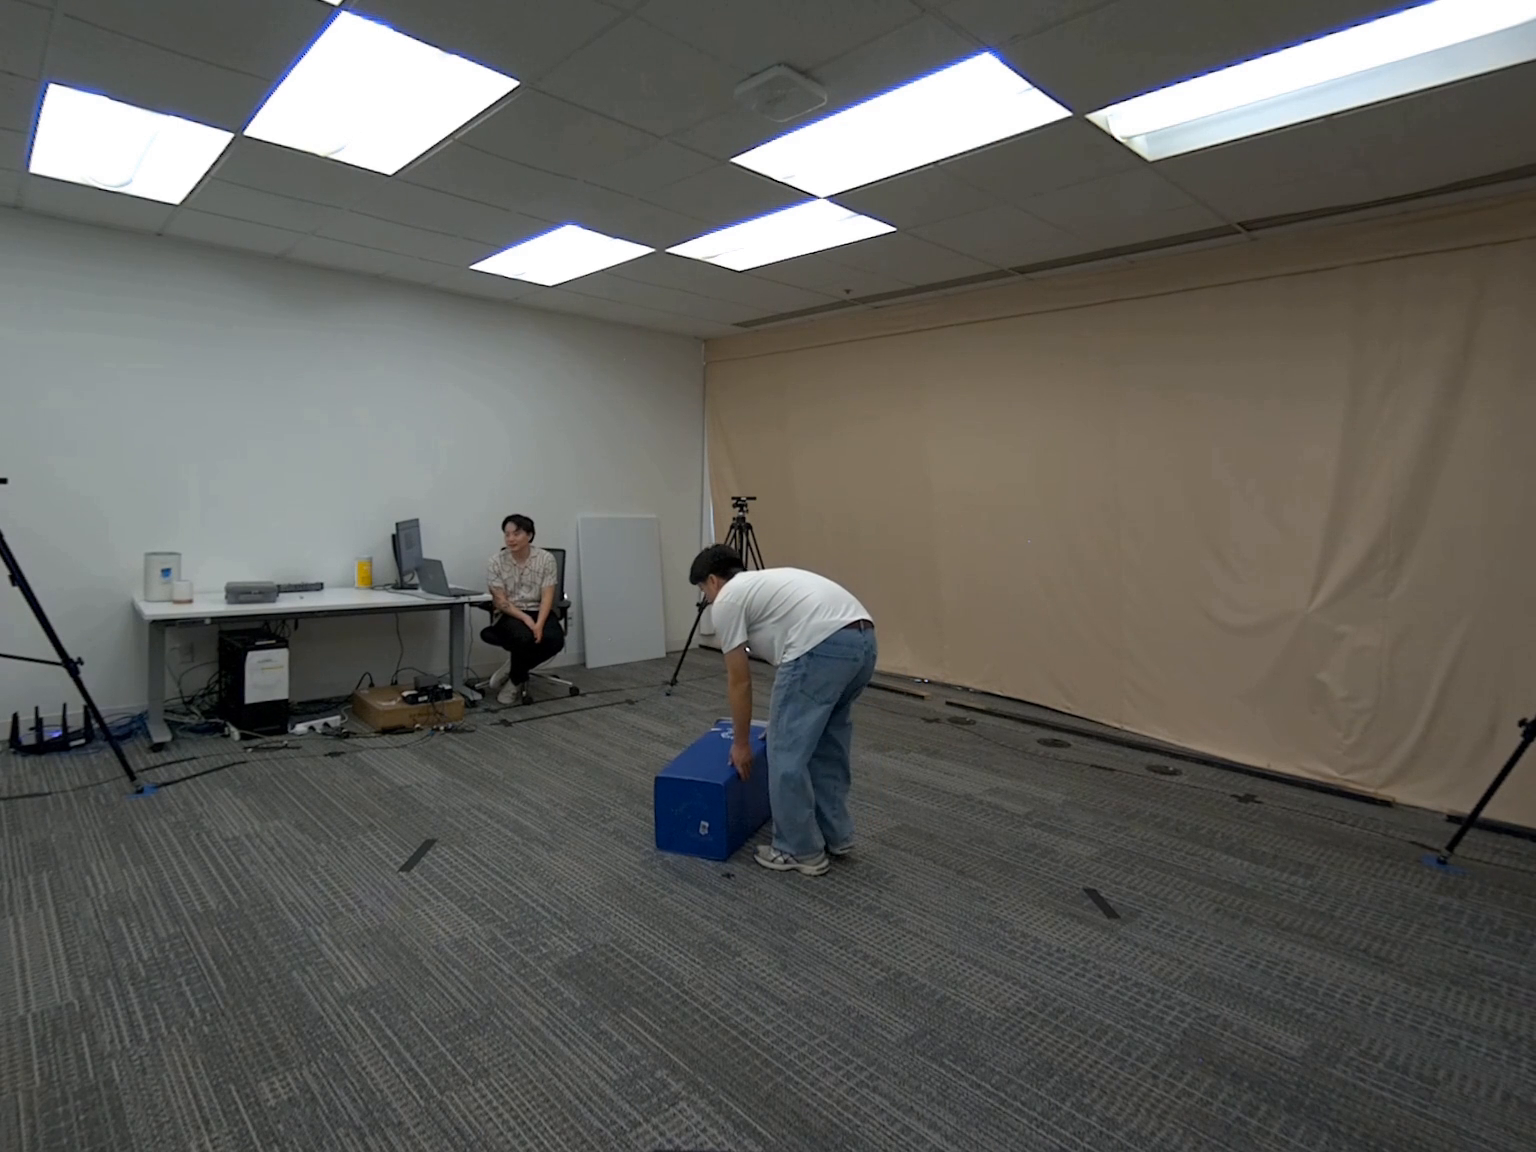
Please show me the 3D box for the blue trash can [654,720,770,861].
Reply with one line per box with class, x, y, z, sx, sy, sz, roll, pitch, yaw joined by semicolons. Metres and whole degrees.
blue trash can;-0.185;0.894;3.575;0.380;0.376;0.706;2;7;19
